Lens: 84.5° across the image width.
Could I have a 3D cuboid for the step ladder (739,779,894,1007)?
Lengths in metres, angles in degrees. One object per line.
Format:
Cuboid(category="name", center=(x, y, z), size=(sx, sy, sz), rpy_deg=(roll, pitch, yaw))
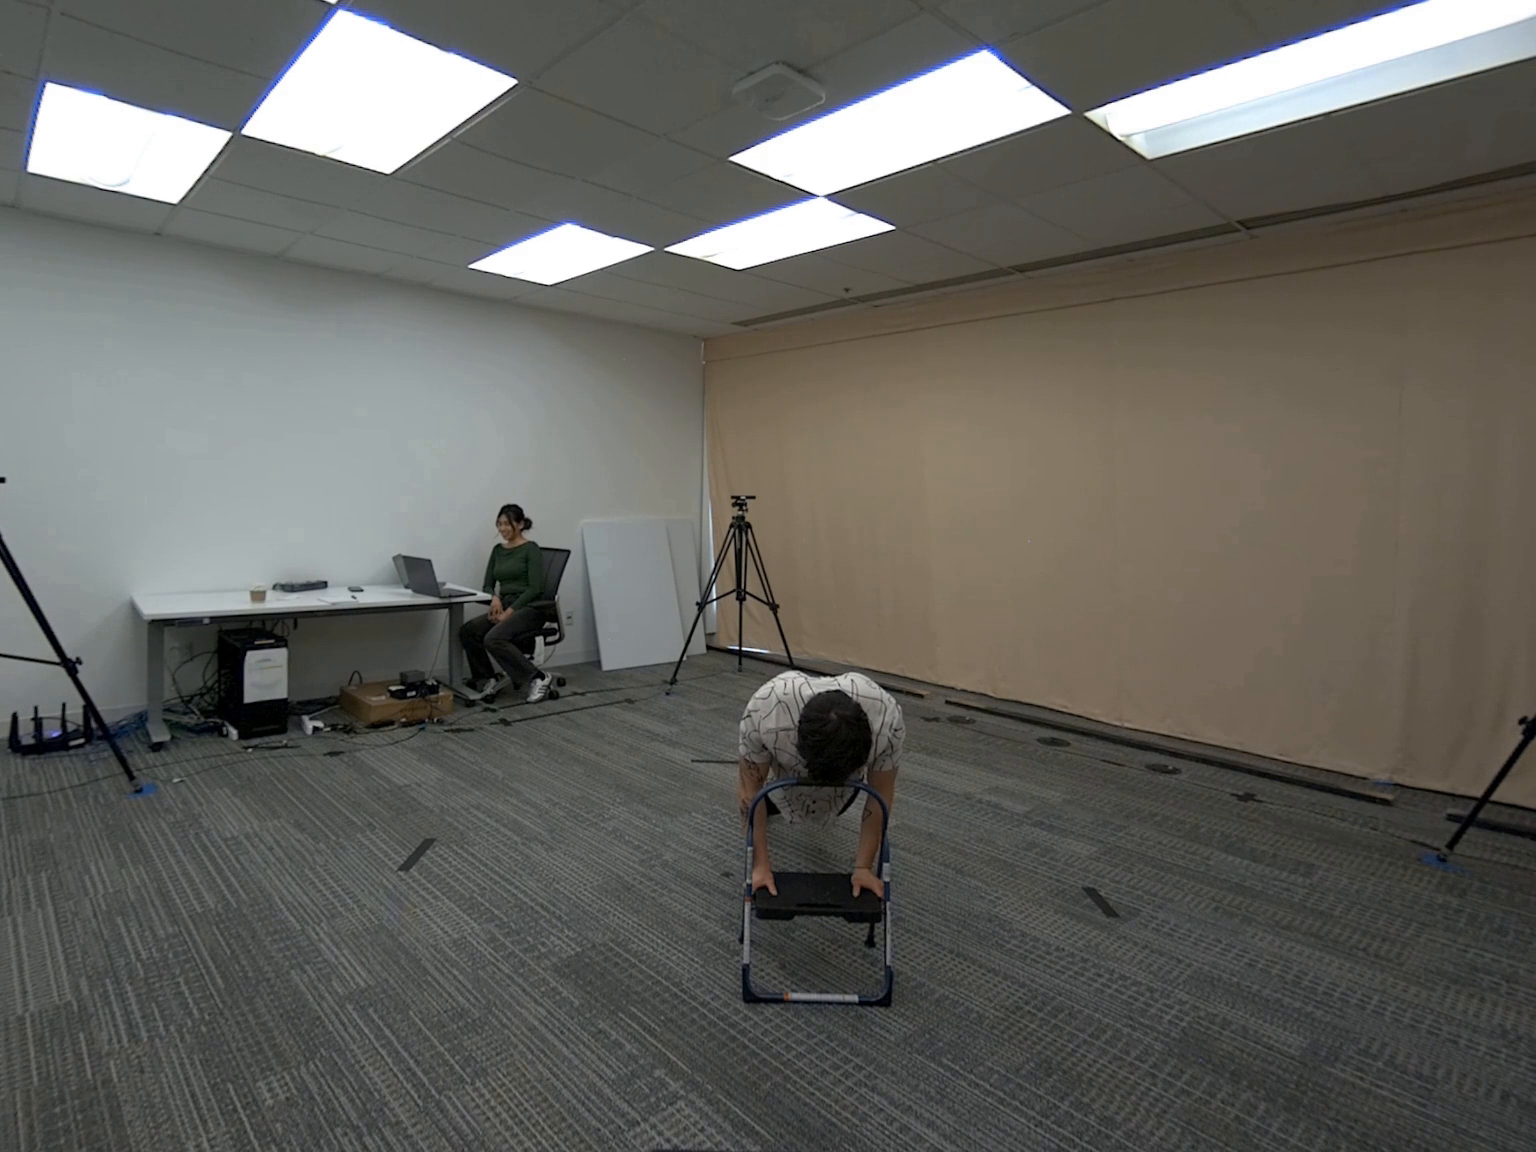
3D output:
Cuboid(category="step ladder", center=(0.129, 0.871, 2.465), size=(0.430, 0.605, 0.350), rpy_deg=(0, 3, -2))
